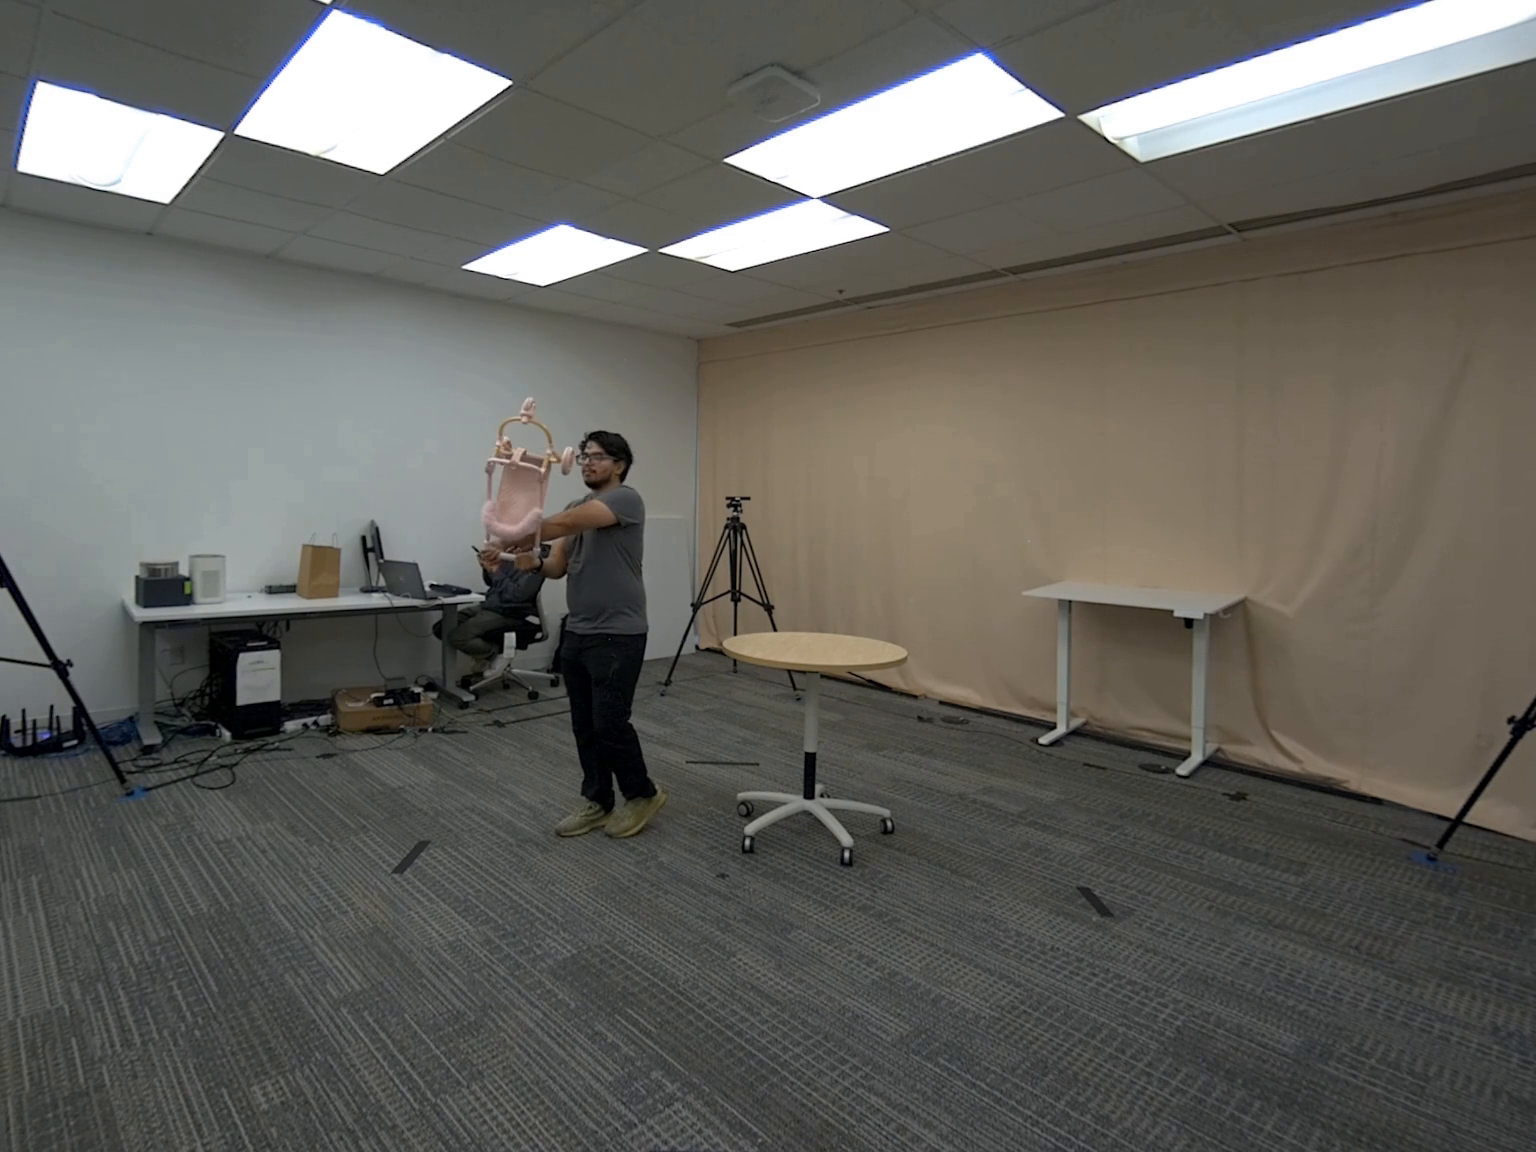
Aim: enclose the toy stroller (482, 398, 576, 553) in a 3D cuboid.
[{"bbox_3d":[-0.909,-0.346,3.069,0.280,0.540,0.339,11,-18,-4],"label":"toy stroller"}]
